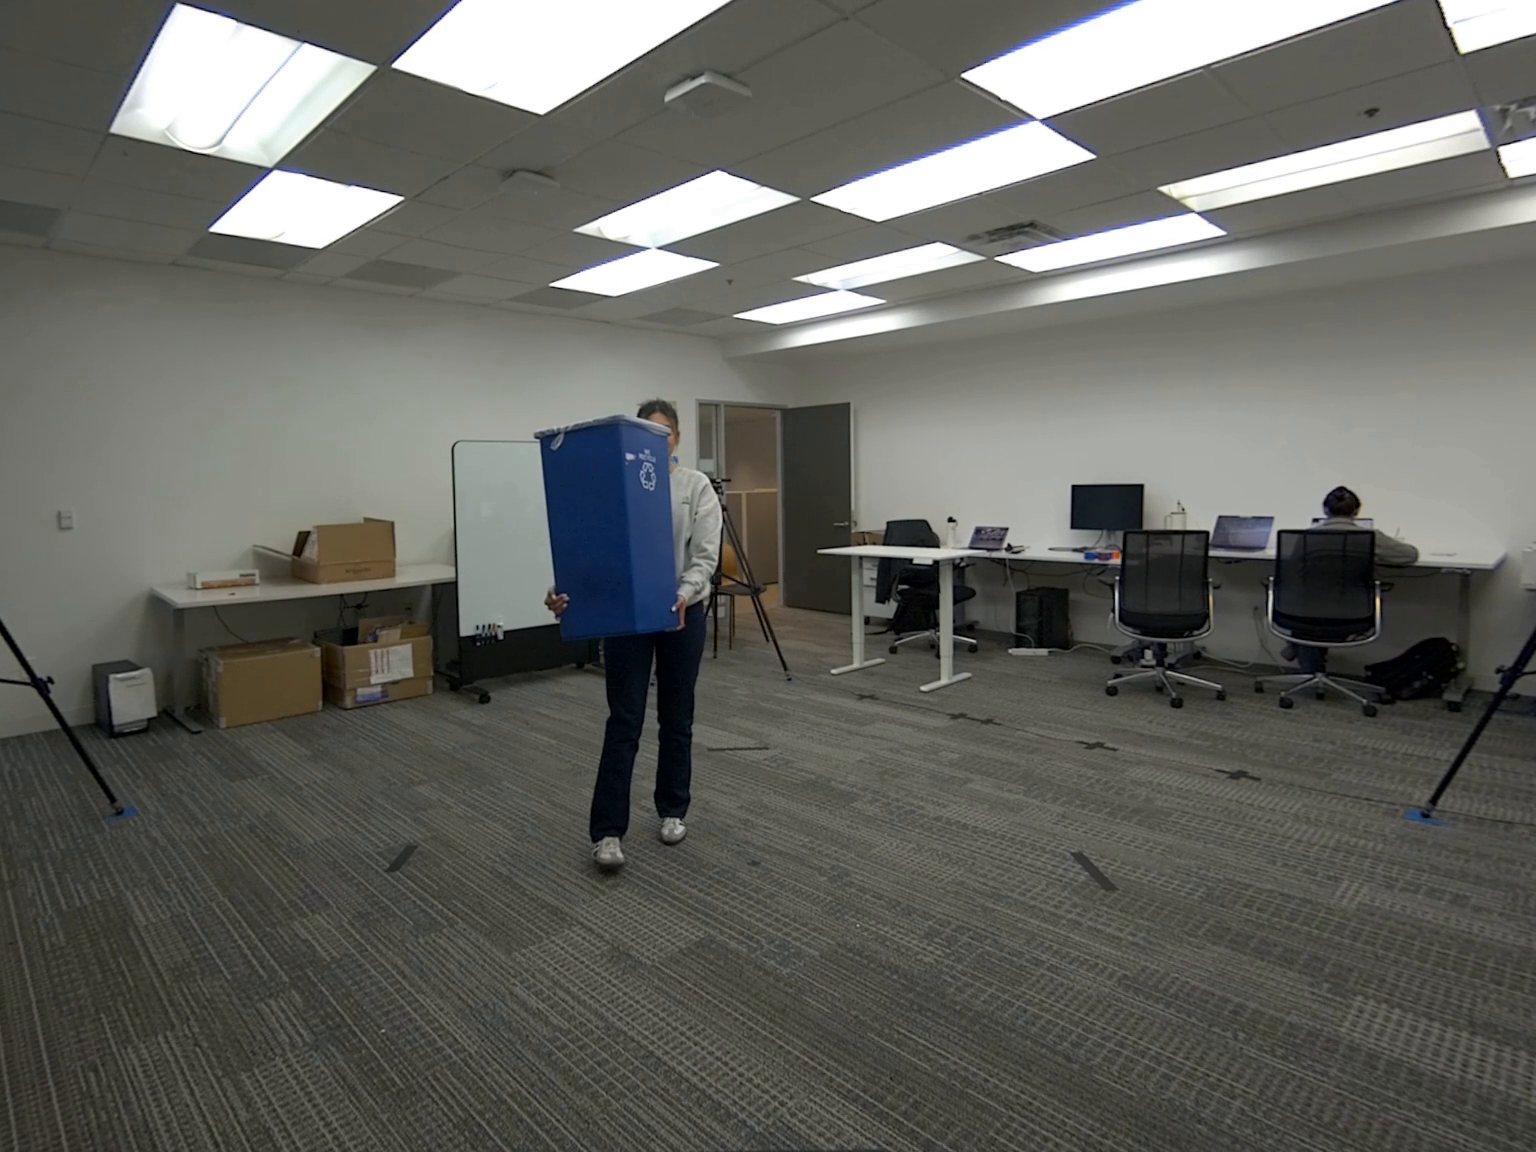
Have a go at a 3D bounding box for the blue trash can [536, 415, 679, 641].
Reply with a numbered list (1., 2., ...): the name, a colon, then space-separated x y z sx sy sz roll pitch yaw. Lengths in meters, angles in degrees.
1. blue trash can: -0.547 -0.160 2.970 0.385 0.716 0.366 -7 -4 22
